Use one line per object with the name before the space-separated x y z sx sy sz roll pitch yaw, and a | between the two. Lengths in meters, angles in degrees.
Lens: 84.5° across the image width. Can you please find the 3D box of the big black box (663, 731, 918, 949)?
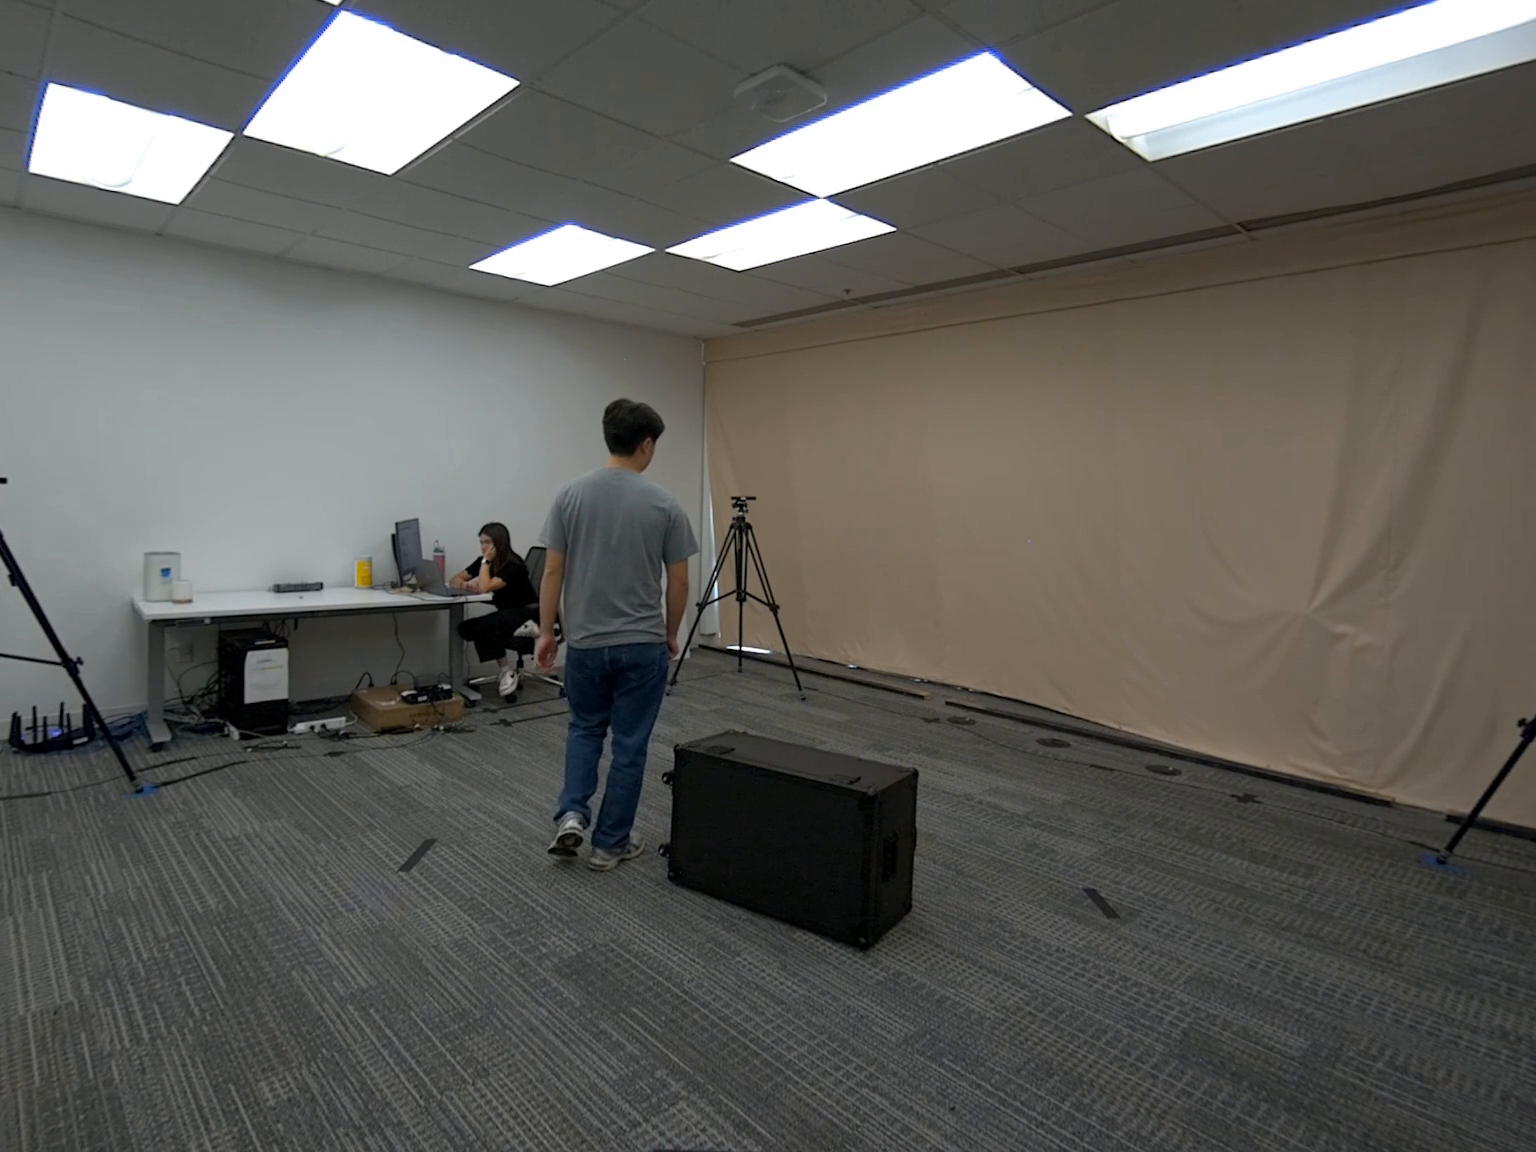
big black box | 0.054 0.868 2.961 0.881 0.521 0.387 5 2 33
